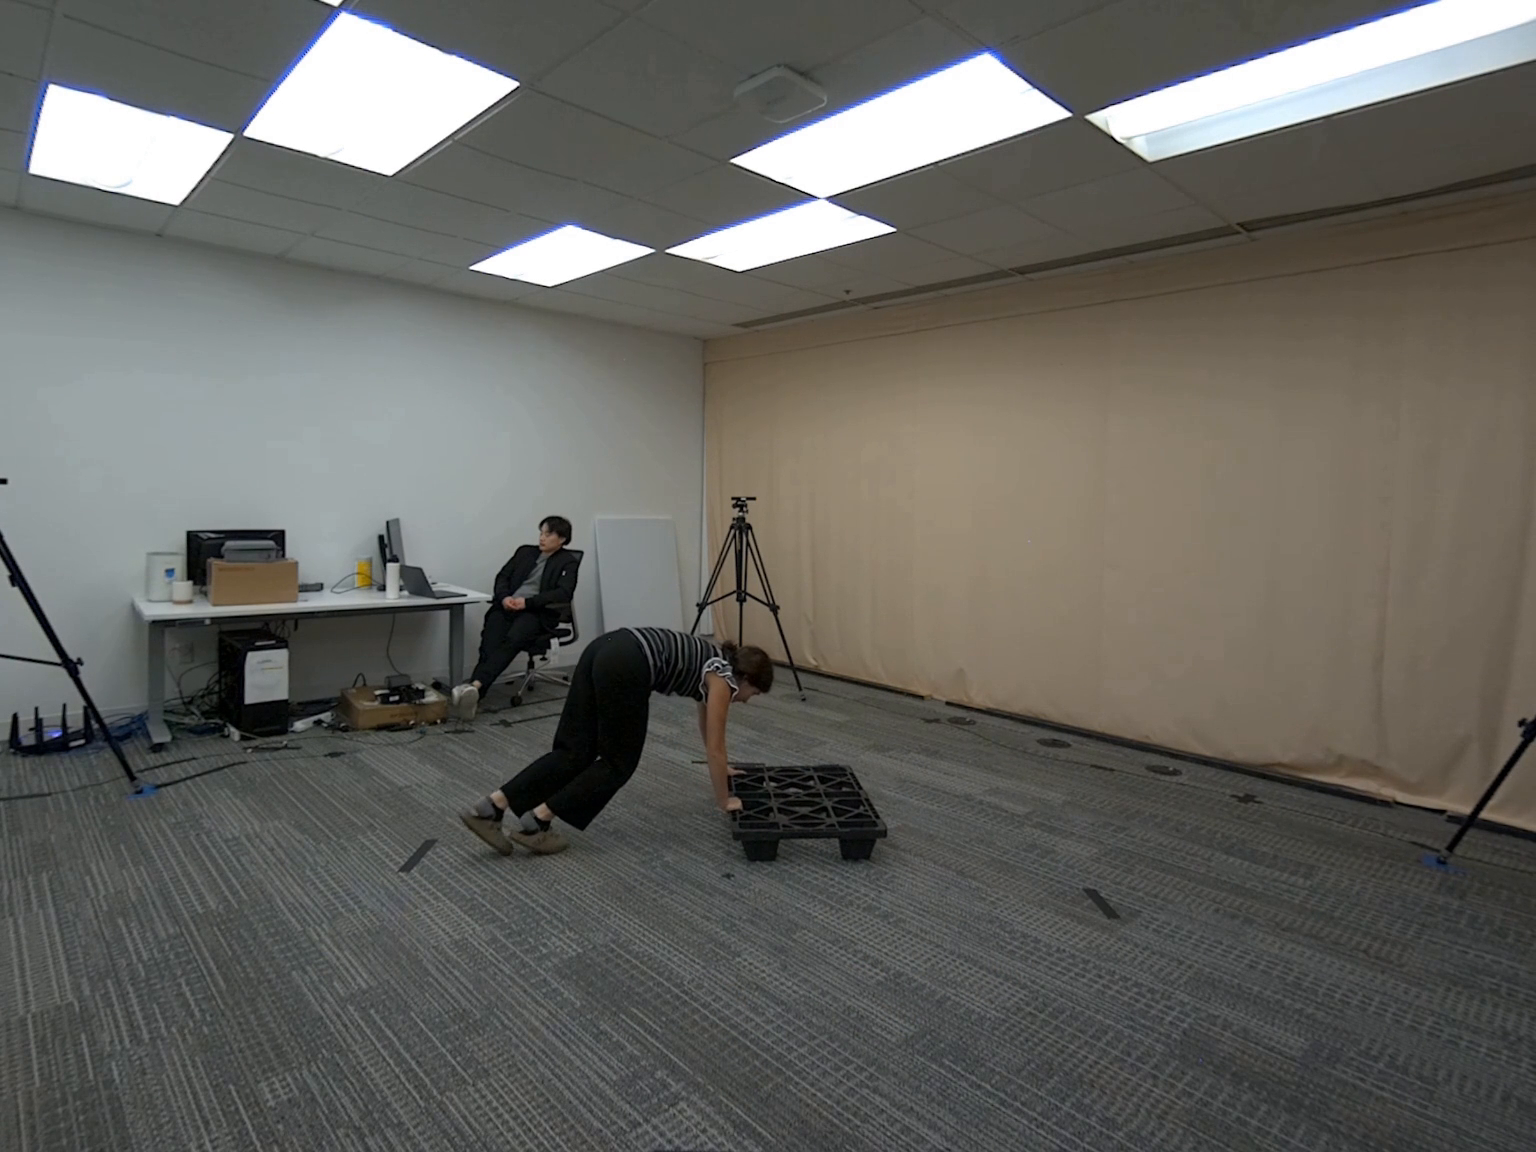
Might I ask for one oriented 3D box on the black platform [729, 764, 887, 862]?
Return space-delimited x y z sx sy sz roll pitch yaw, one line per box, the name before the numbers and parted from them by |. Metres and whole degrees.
black platform | 0.115 0.999 3.605 0.603 0.143 0.811 1 5 -5
